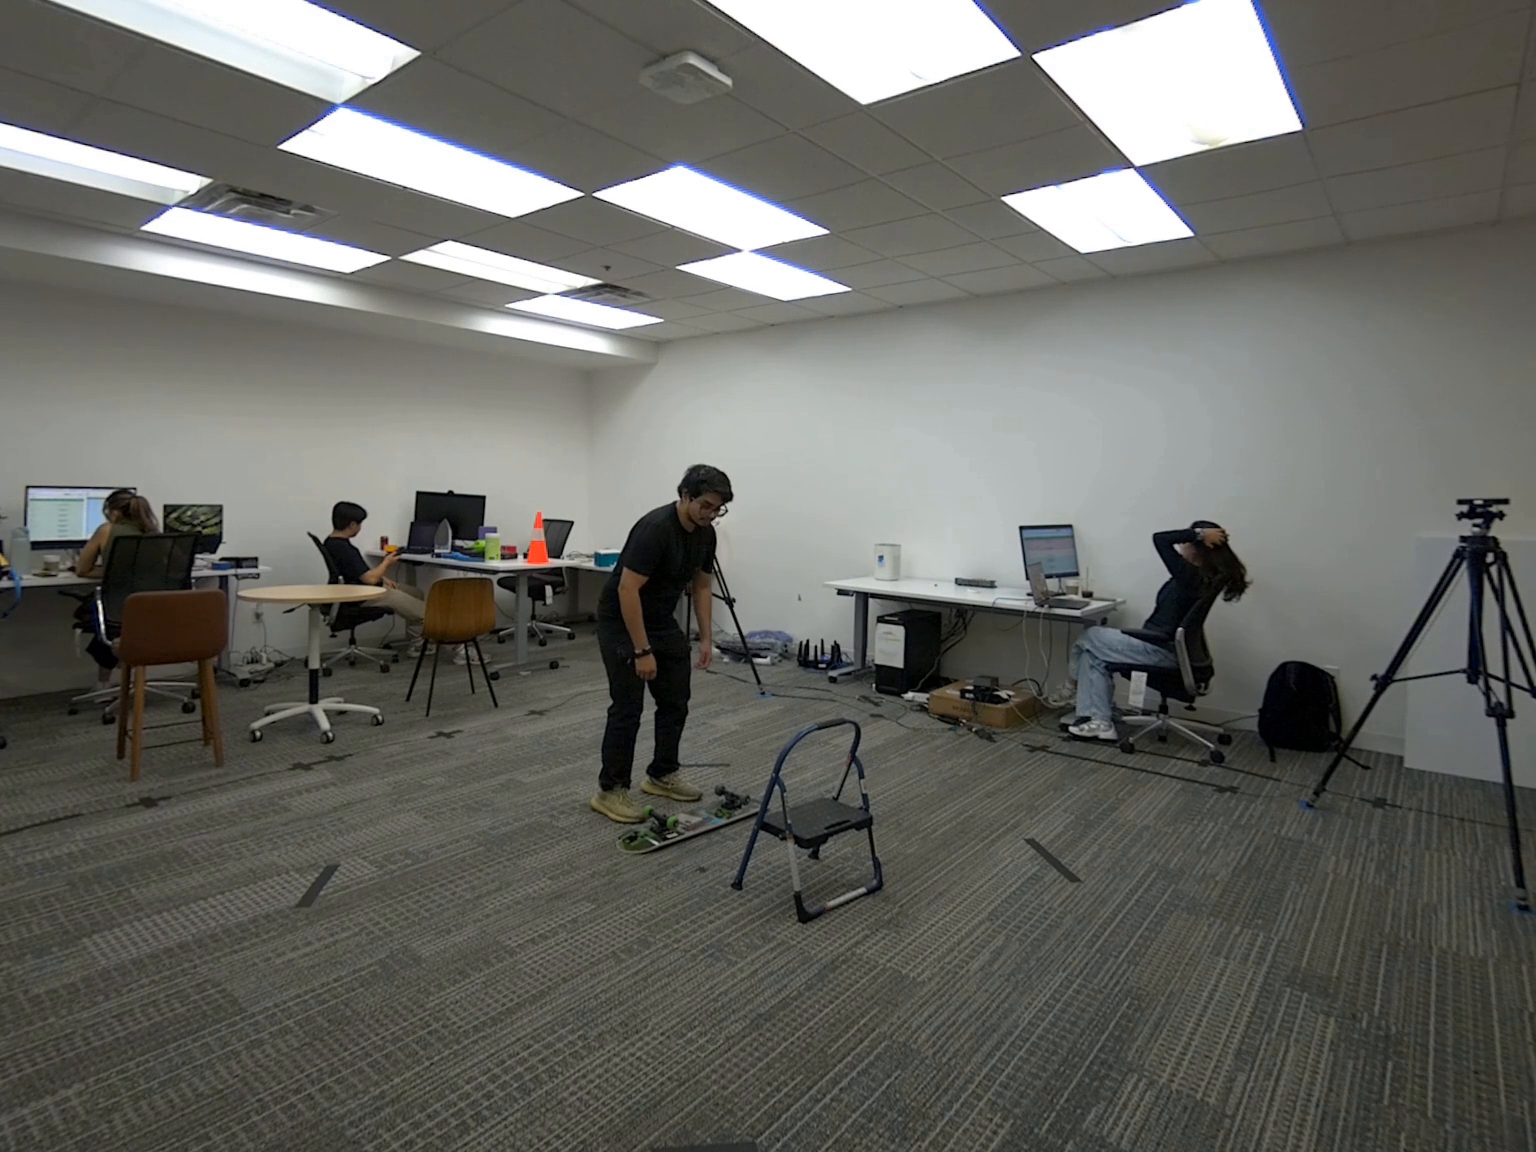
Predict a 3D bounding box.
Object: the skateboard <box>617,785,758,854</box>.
[{"bbox_3d":[-0.301,0.981,3.518,0.762,0.110,0.200,-5,7,-45],"label":"skateboard"}]
